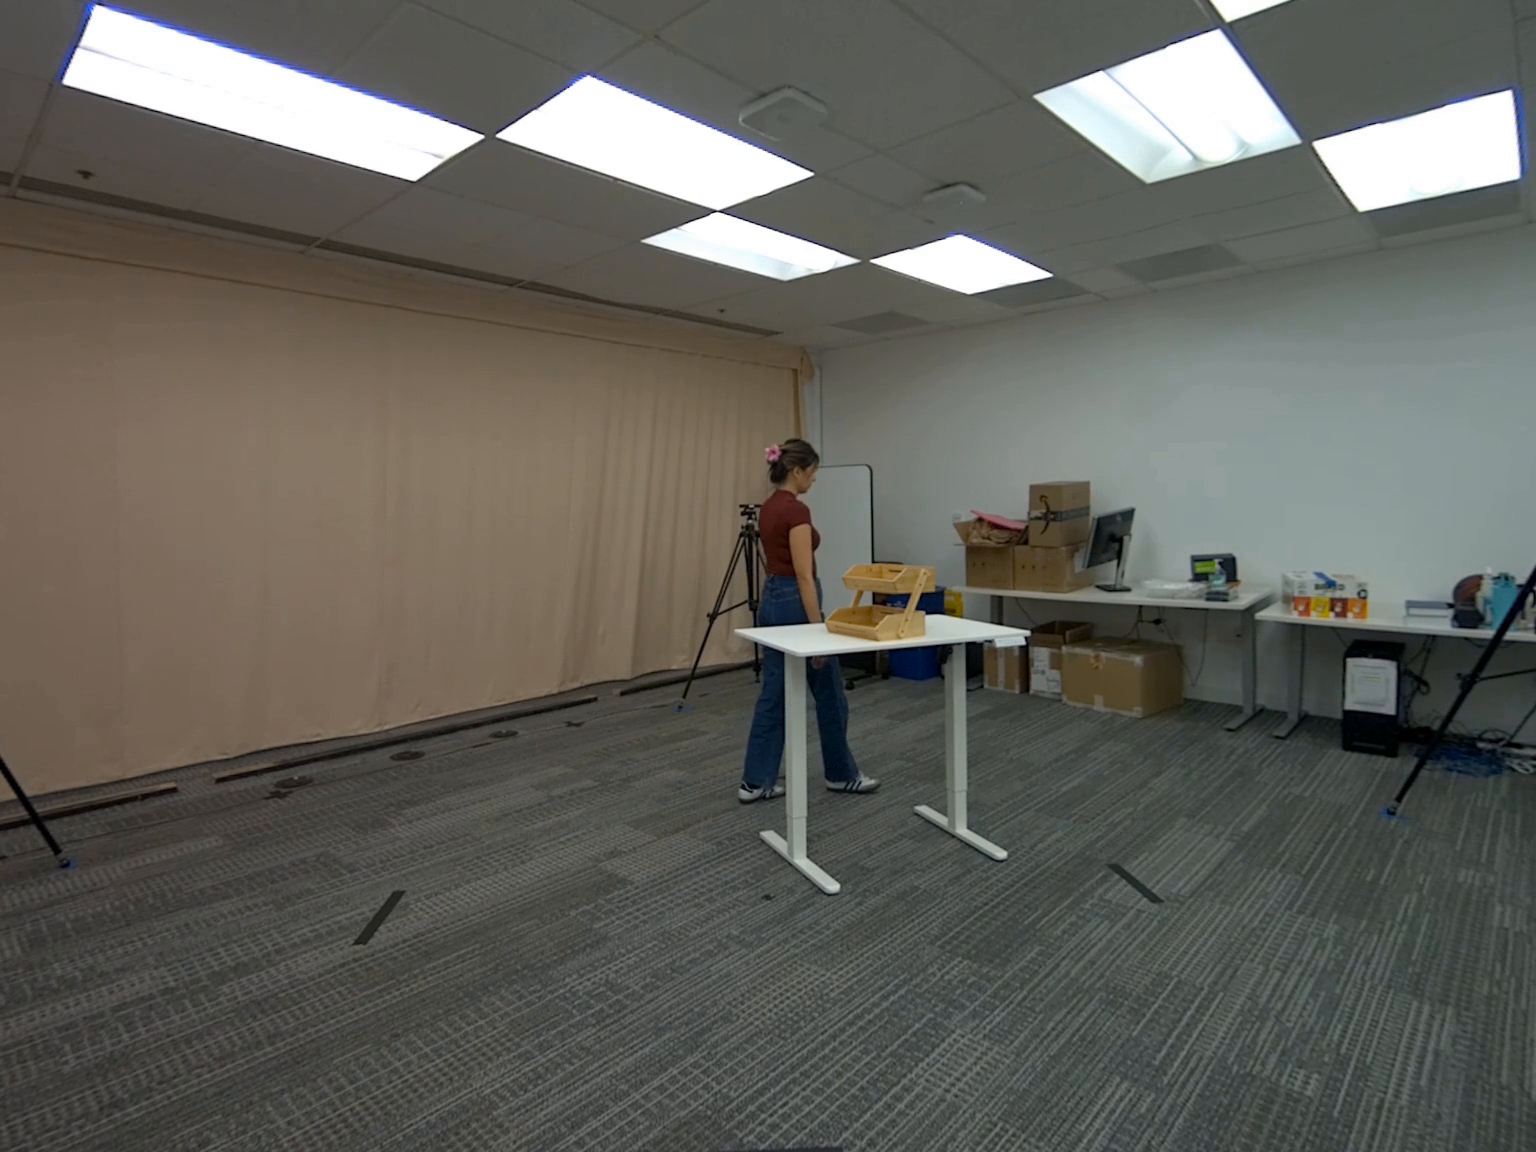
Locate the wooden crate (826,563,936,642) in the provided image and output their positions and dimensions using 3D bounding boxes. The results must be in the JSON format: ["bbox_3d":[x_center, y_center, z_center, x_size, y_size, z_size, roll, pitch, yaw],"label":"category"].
[{"bbox_3d":[0.439,0.091,3.279,0.293,0.273,0.334,-2,4,-33],"label":"wooden crate"}]
